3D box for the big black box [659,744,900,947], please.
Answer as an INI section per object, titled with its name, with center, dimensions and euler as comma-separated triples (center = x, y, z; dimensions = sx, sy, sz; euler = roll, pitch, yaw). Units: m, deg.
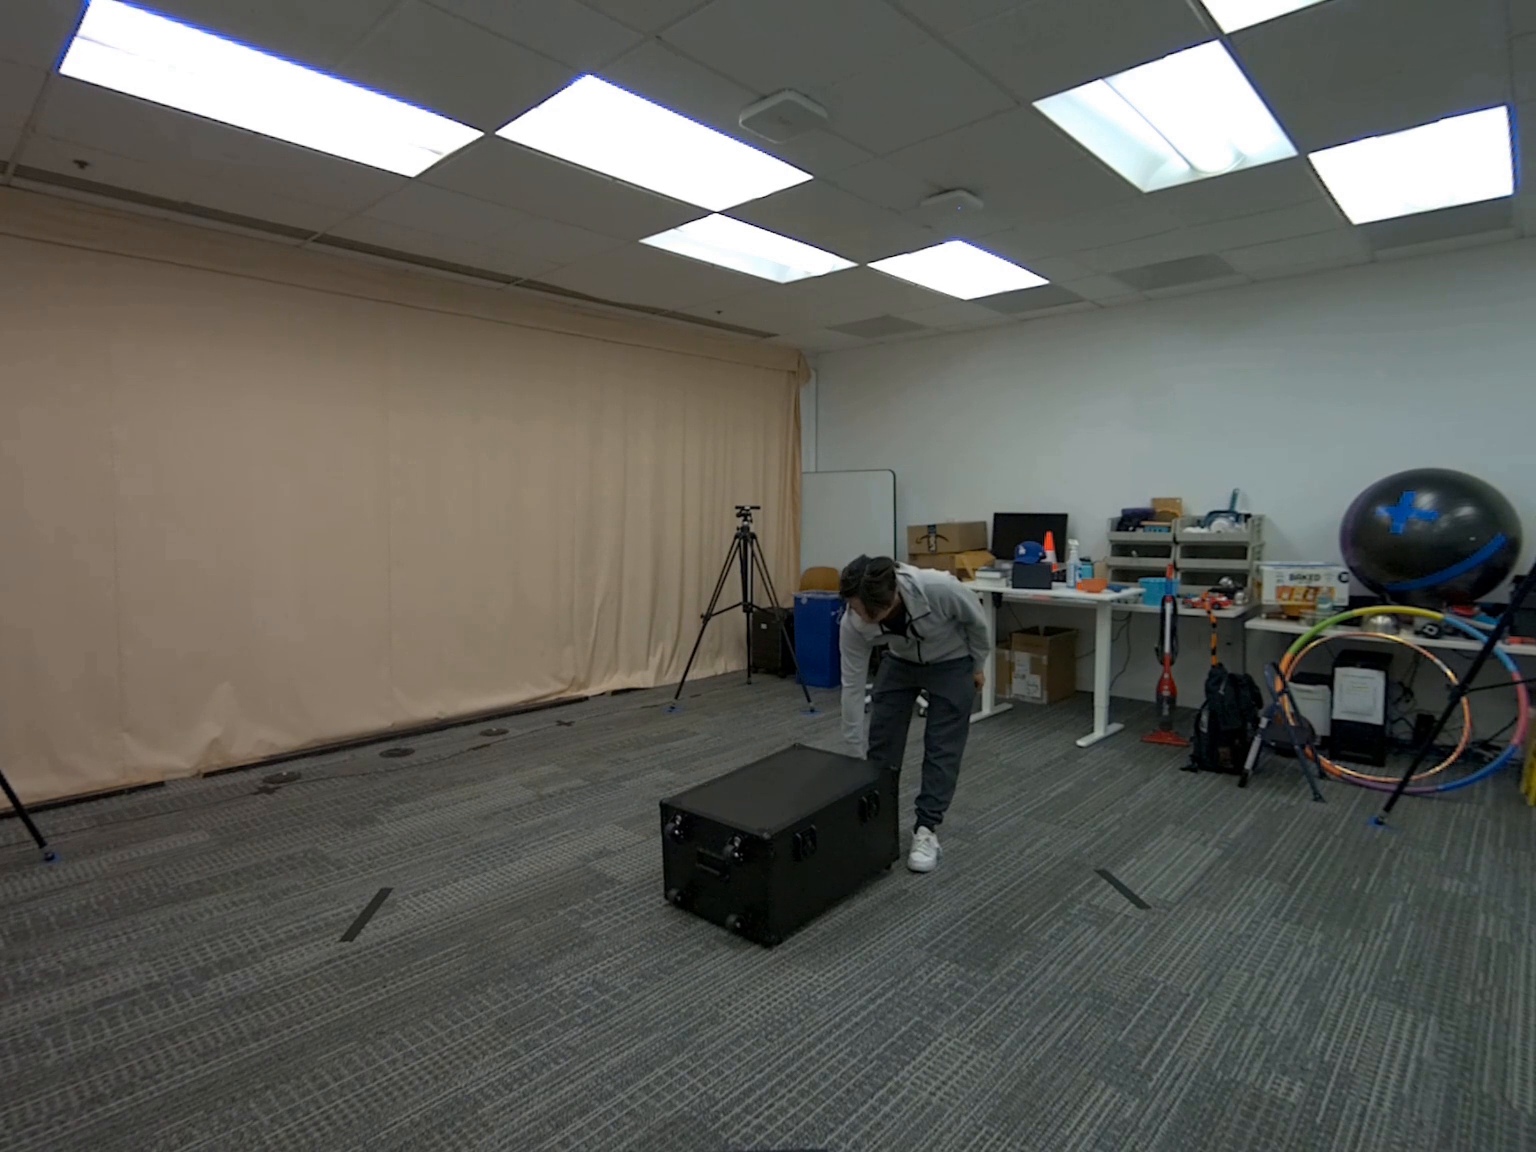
[big black box]
center = 0.037, 0.937, 3.030
dimensions = 0.538, 0.395, 0.836
euler = 3, 7, 41
